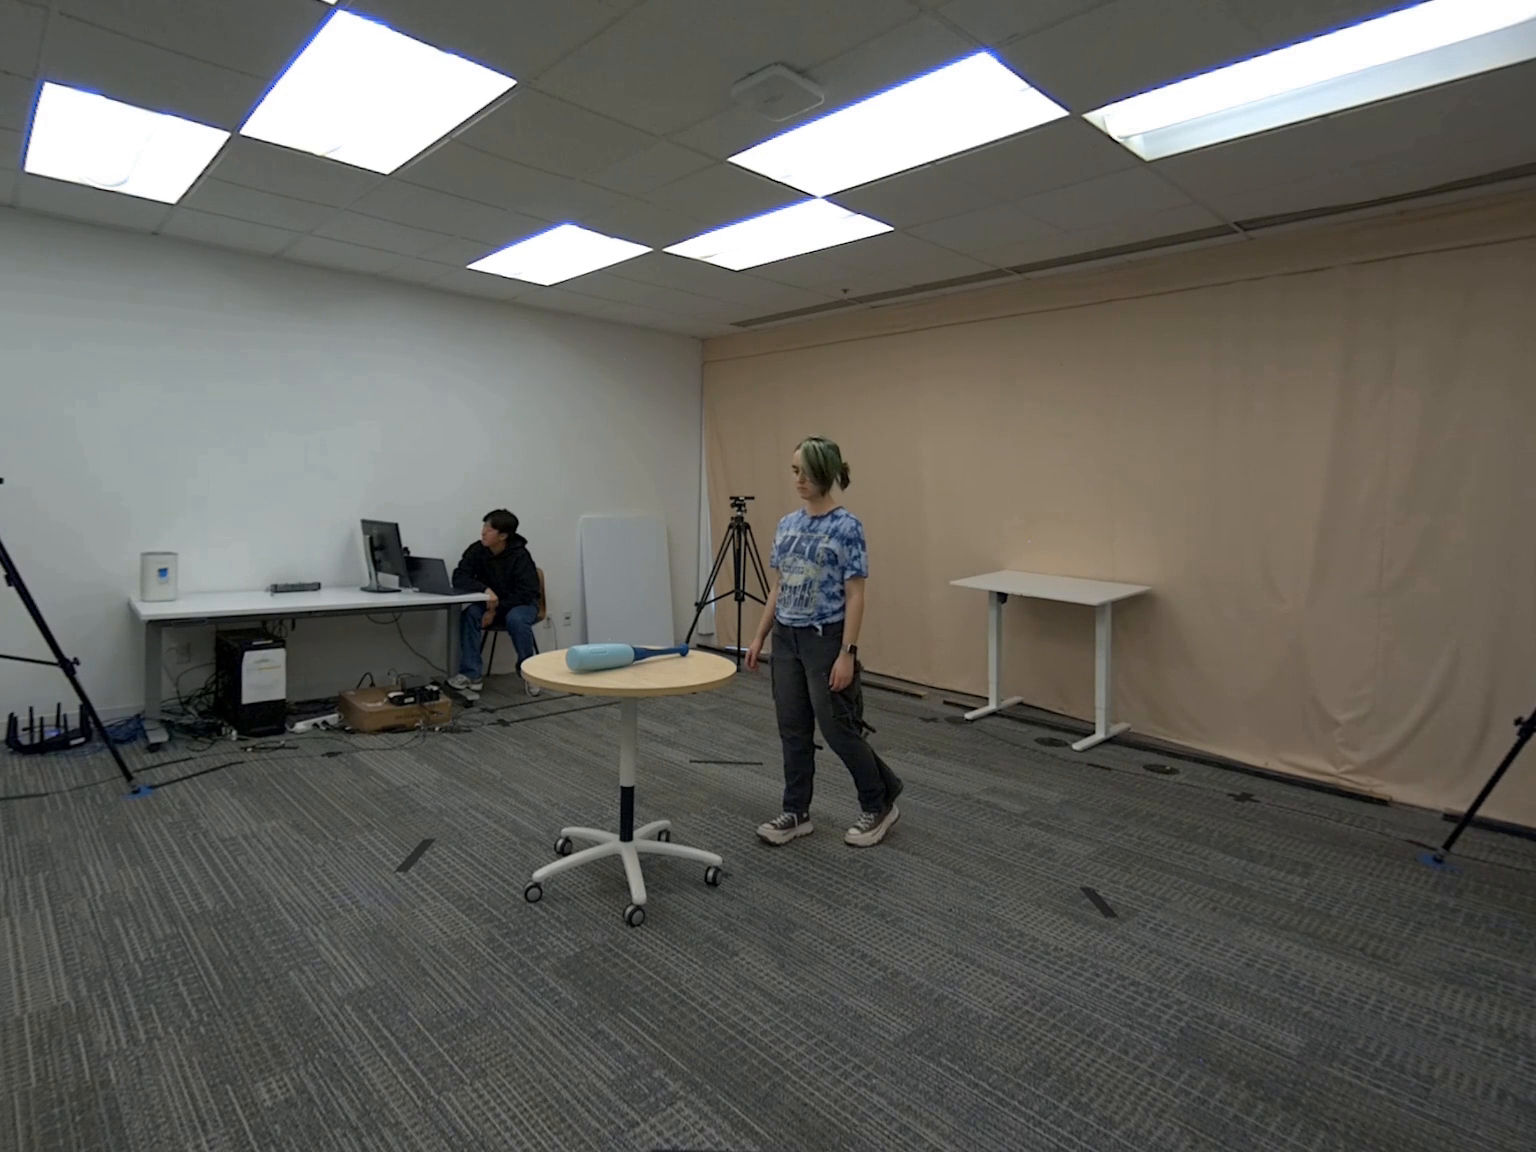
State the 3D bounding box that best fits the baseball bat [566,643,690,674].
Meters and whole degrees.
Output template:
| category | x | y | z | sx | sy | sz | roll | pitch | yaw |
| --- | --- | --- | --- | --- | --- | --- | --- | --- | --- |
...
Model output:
| category | x | y | z | sx | sy | sz | roll | pitch | yaw |
| --- | --- | --- | --- | --- | --- | --- | --- | --- | --- |
| baseball bat | -0.495 | 0.284 | 3.025 | 0.091 | 0.089 | 0.530 | 5 | 3 | 40 |
